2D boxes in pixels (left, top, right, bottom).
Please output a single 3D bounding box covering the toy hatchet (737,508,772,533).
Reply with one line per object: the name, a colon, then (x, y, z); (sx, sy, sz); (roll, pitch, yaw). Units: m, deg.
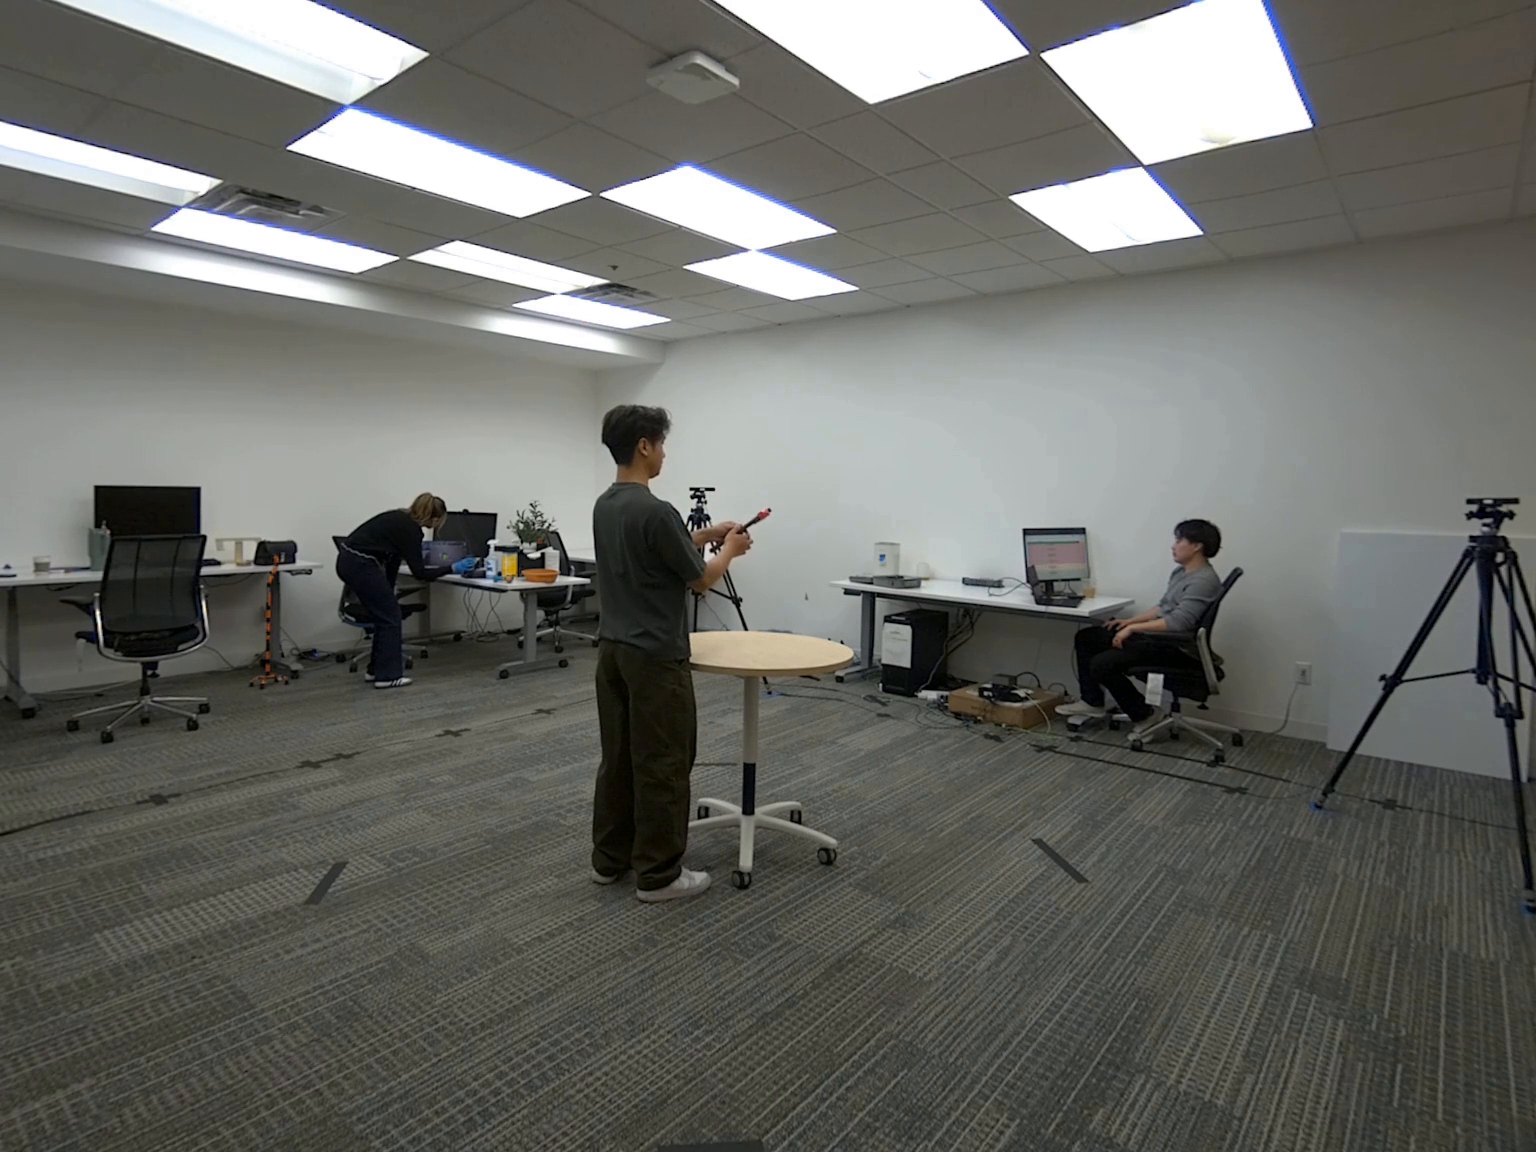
toy hatchet: (-0.105, -0.181, 3.186); (0.272, 0.030, 0.129); (-33, 0, 21)
